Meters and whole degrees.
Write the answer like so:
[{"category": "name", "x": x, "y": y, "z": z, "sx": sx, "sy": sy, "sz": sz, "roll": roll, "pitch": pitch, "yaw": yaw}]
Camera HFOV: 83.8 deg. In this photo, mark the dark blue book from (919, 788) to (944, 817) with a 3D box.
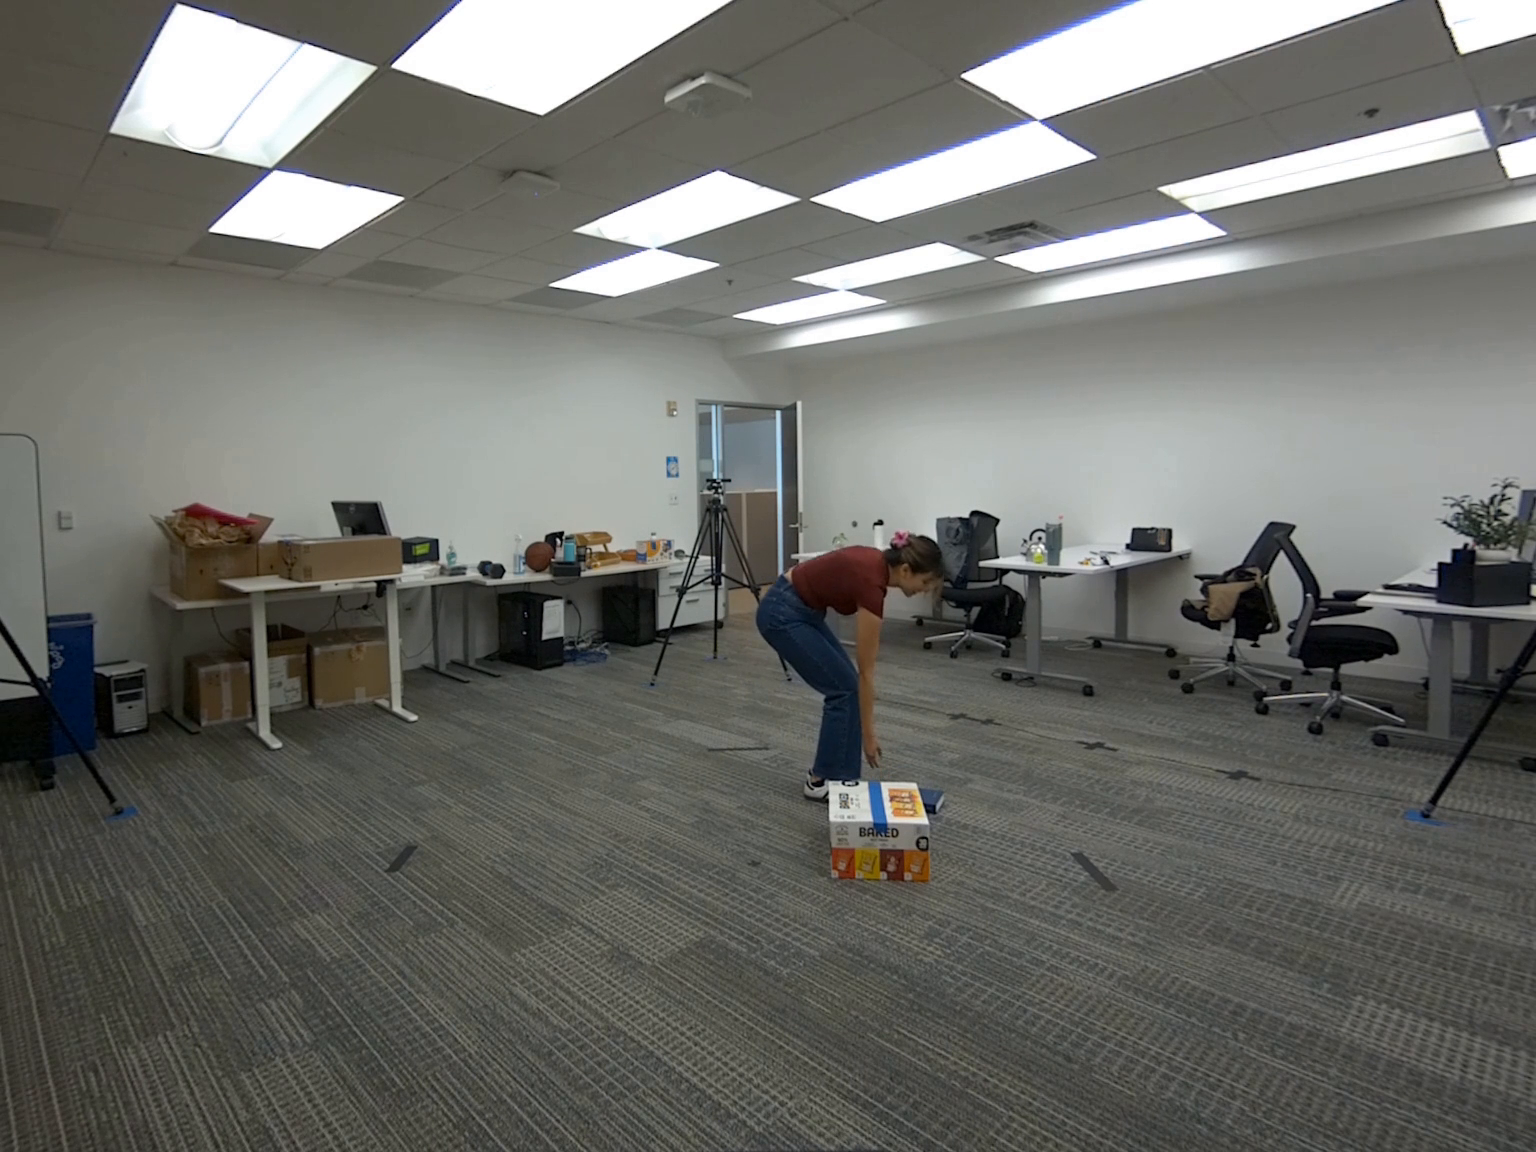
[{"category": "dark blue book", "x": 0.618, "y": 0.952, "z": 3.653, "sx": 0.251, "sy": 0.045, "sz": 0.160, "roll": 1, "pitch": 6, "yaw": 26}]
